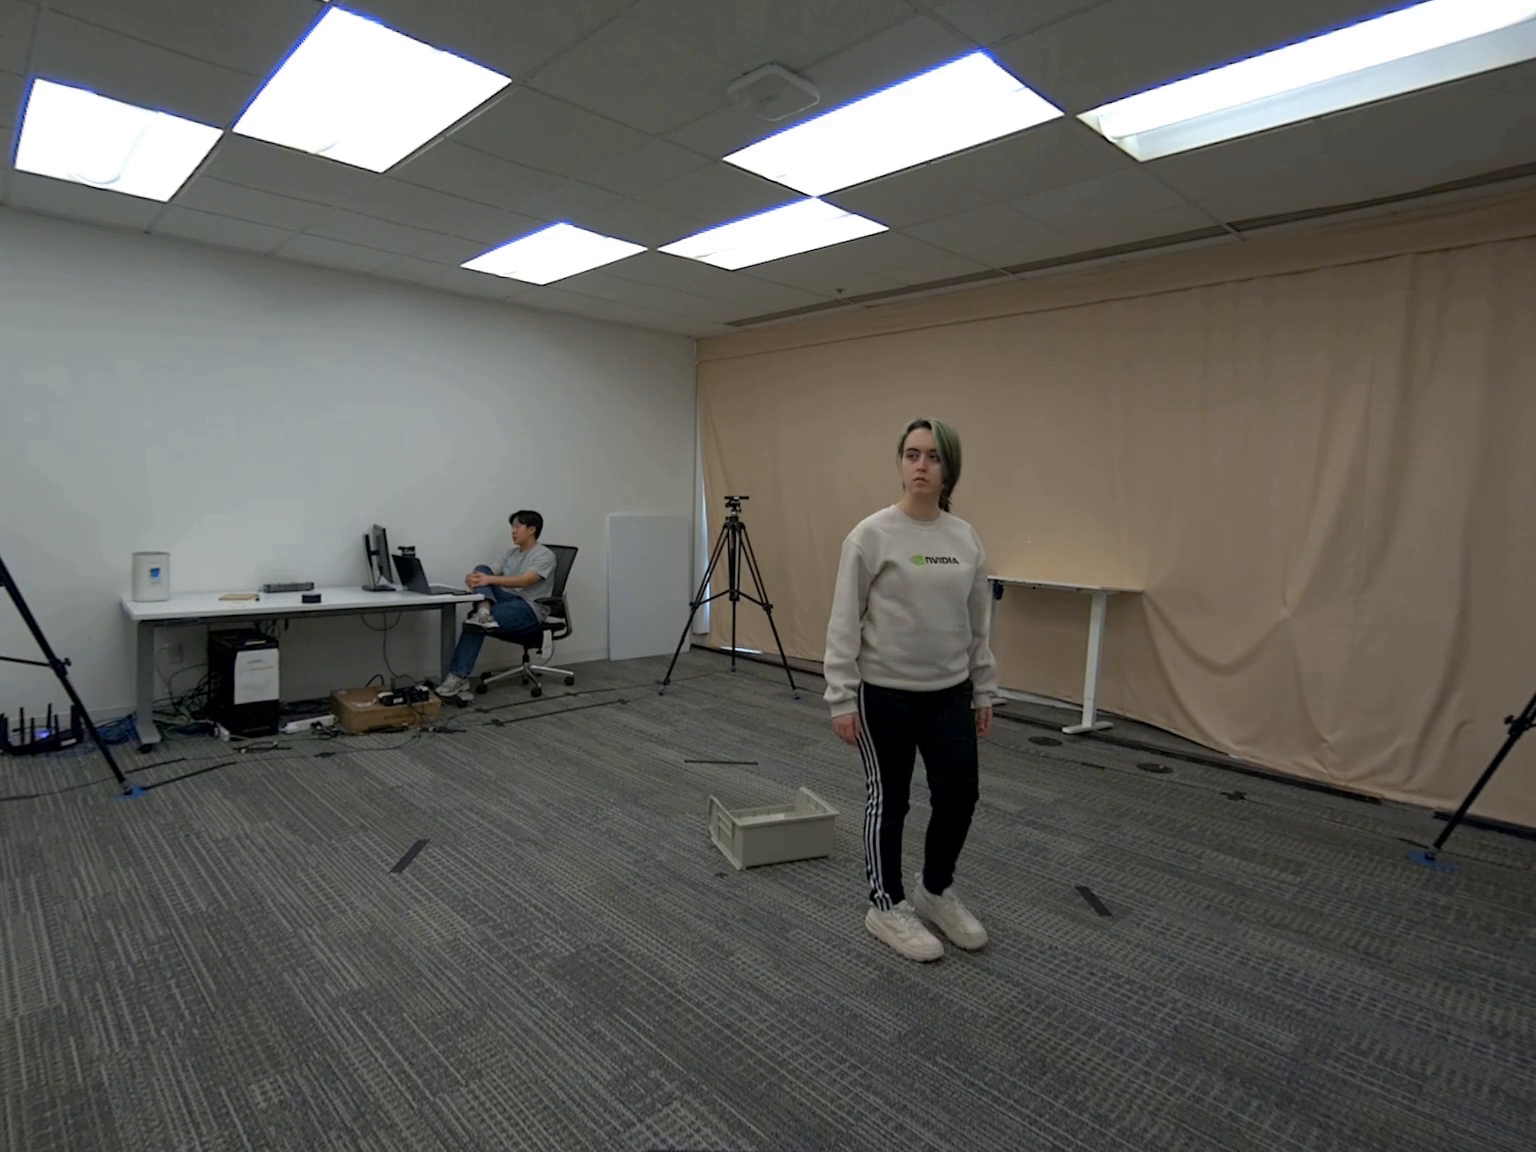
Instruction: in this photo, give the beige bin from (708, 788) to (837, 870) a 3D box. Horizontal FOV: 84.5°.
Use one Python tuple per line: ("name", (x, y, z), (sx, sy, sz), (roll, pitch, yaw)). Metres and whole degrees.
("beige bin", (0.003, 0.993, 3.373), (0.415, 0.188, 0.384), (0, 5, -22))
